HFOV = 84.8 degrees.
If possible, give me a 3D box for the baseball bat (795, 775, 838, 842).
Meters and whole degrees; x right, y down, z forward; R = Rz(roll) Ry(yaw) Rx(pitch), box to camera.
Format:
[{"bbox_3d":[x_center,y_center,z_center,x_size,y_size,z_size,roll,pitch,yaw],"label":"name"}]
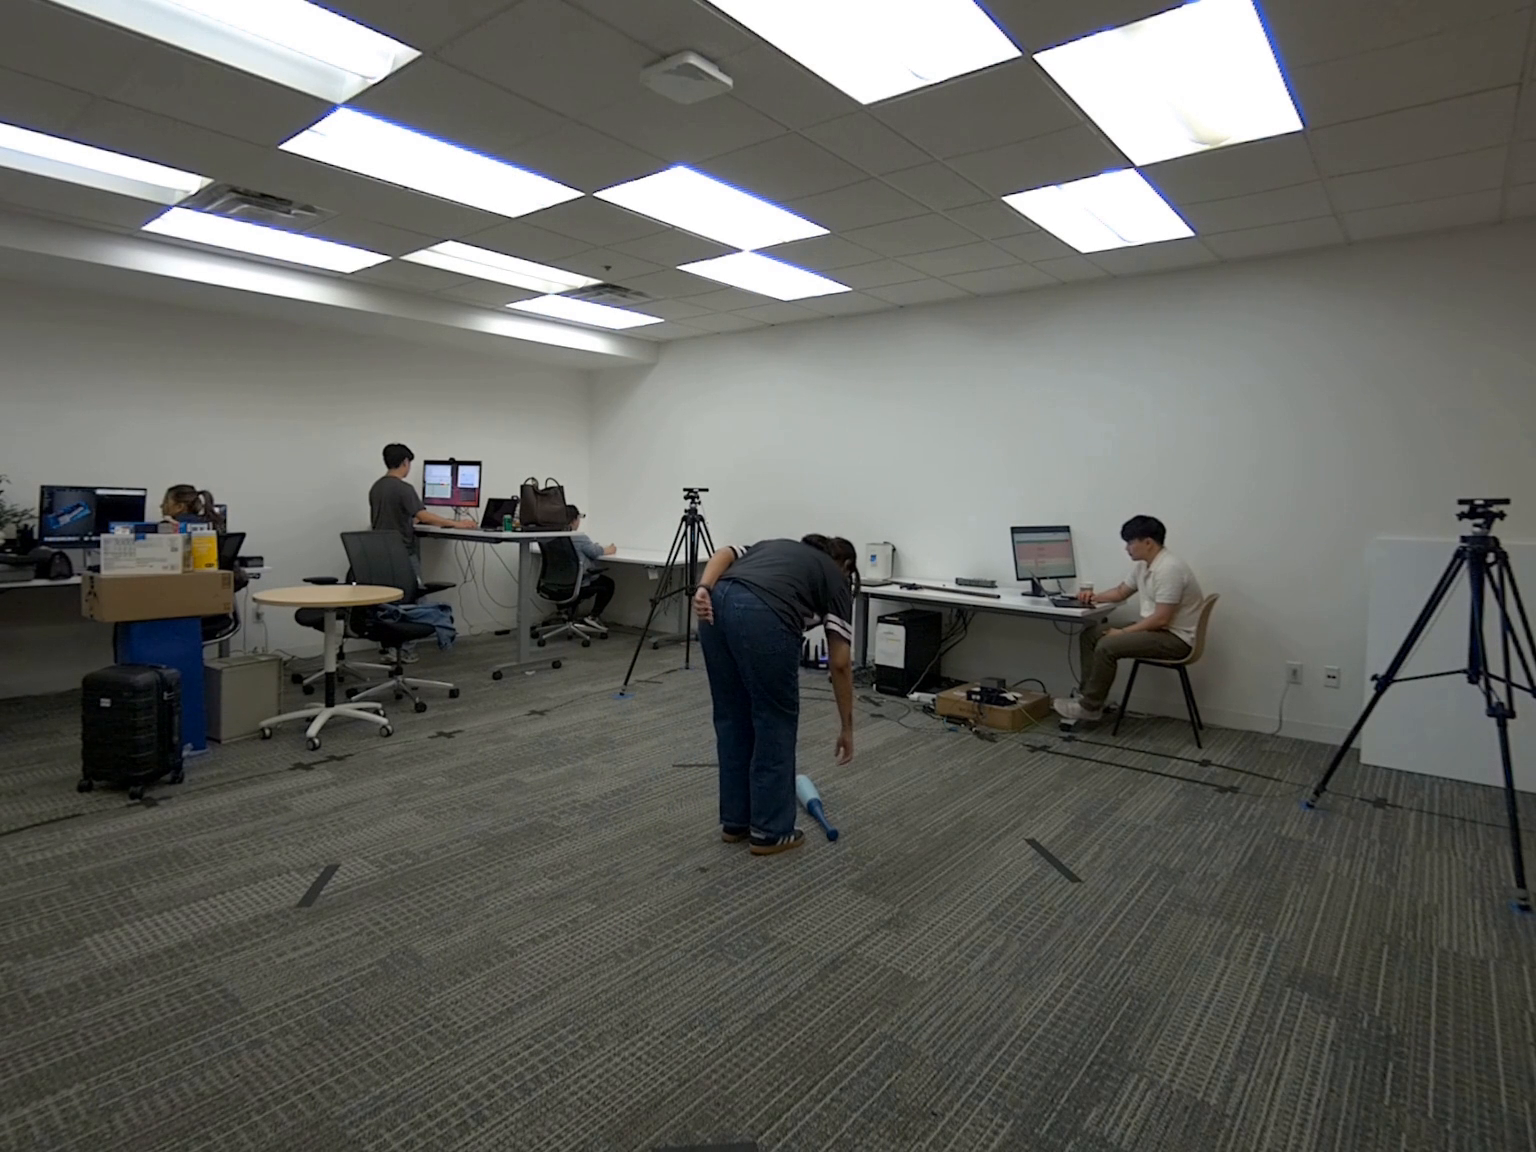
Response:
[{"bbox_3d":[0.197,0.990,3.648,0.088,0.088,0.553,0,9,-12],"label":"baseball bat"}]
